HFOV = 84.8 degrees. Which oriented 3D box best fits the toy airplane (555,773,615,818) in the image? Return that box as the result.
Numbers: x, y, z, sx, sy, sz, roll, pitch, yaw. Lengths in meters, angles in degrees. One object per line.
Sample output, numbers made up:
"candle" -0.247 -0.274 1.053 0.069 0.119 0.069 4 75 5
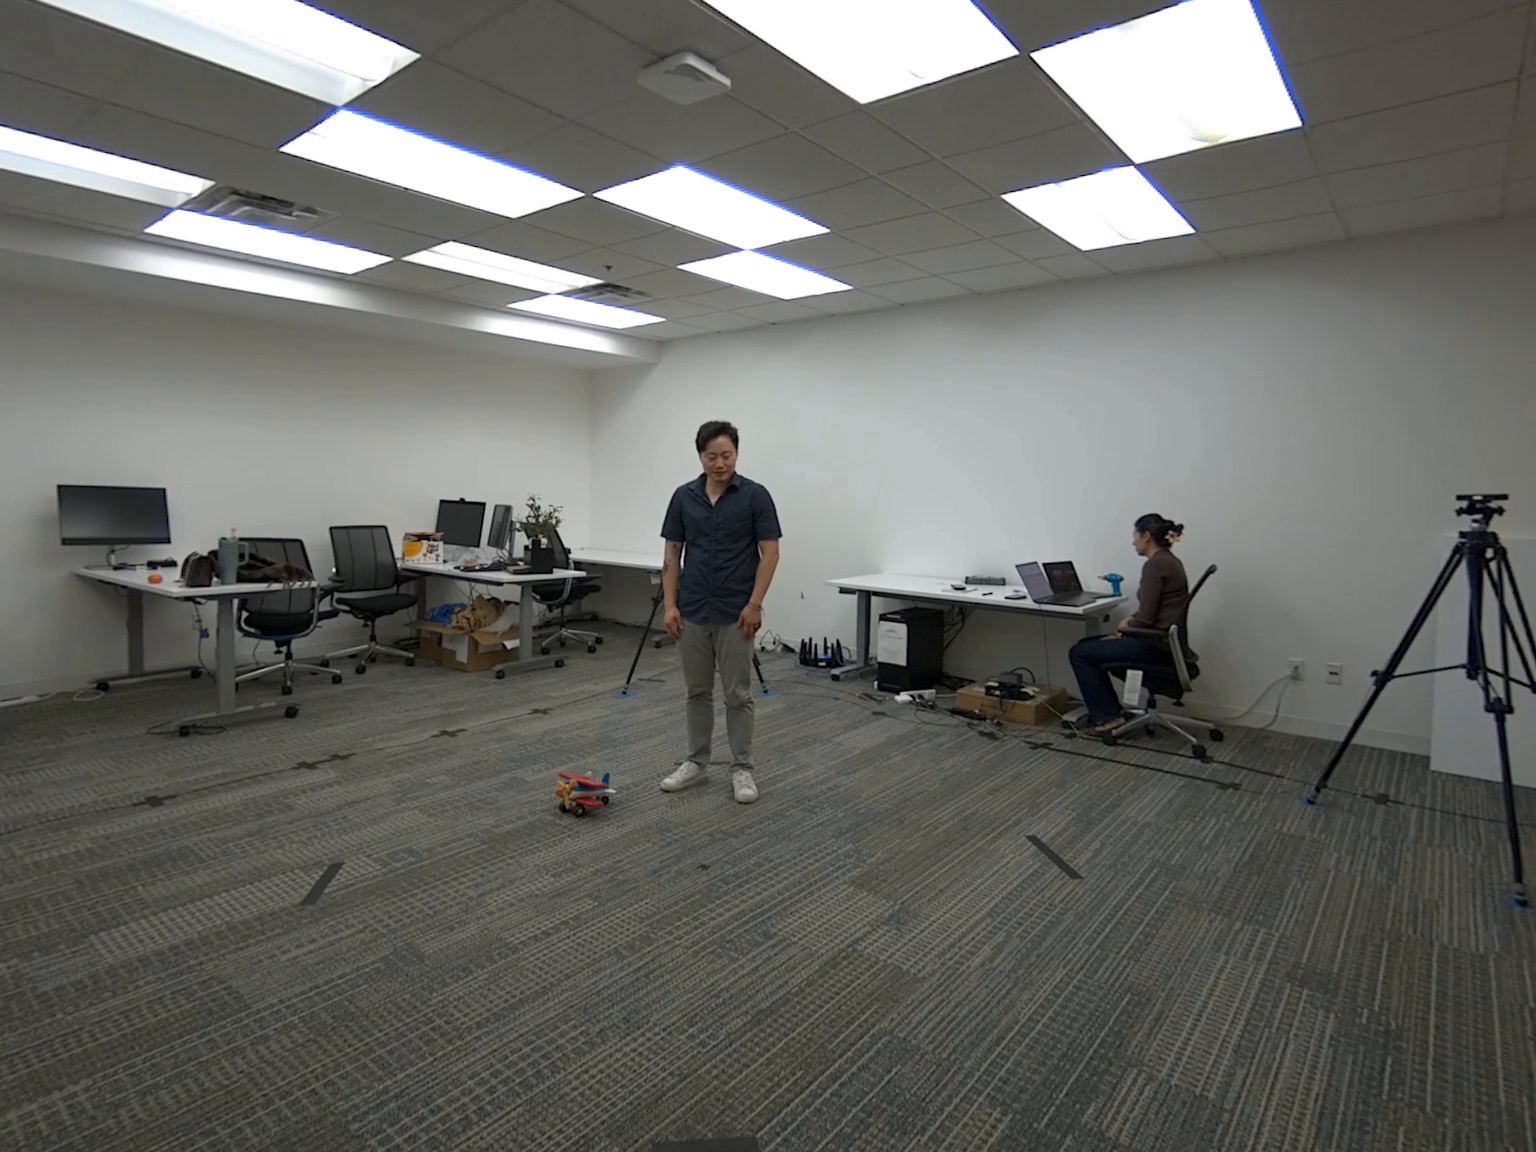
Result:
"toy airplane" -0.810 0.926 3.674 0.254 0.156 0.257 0 5 10
